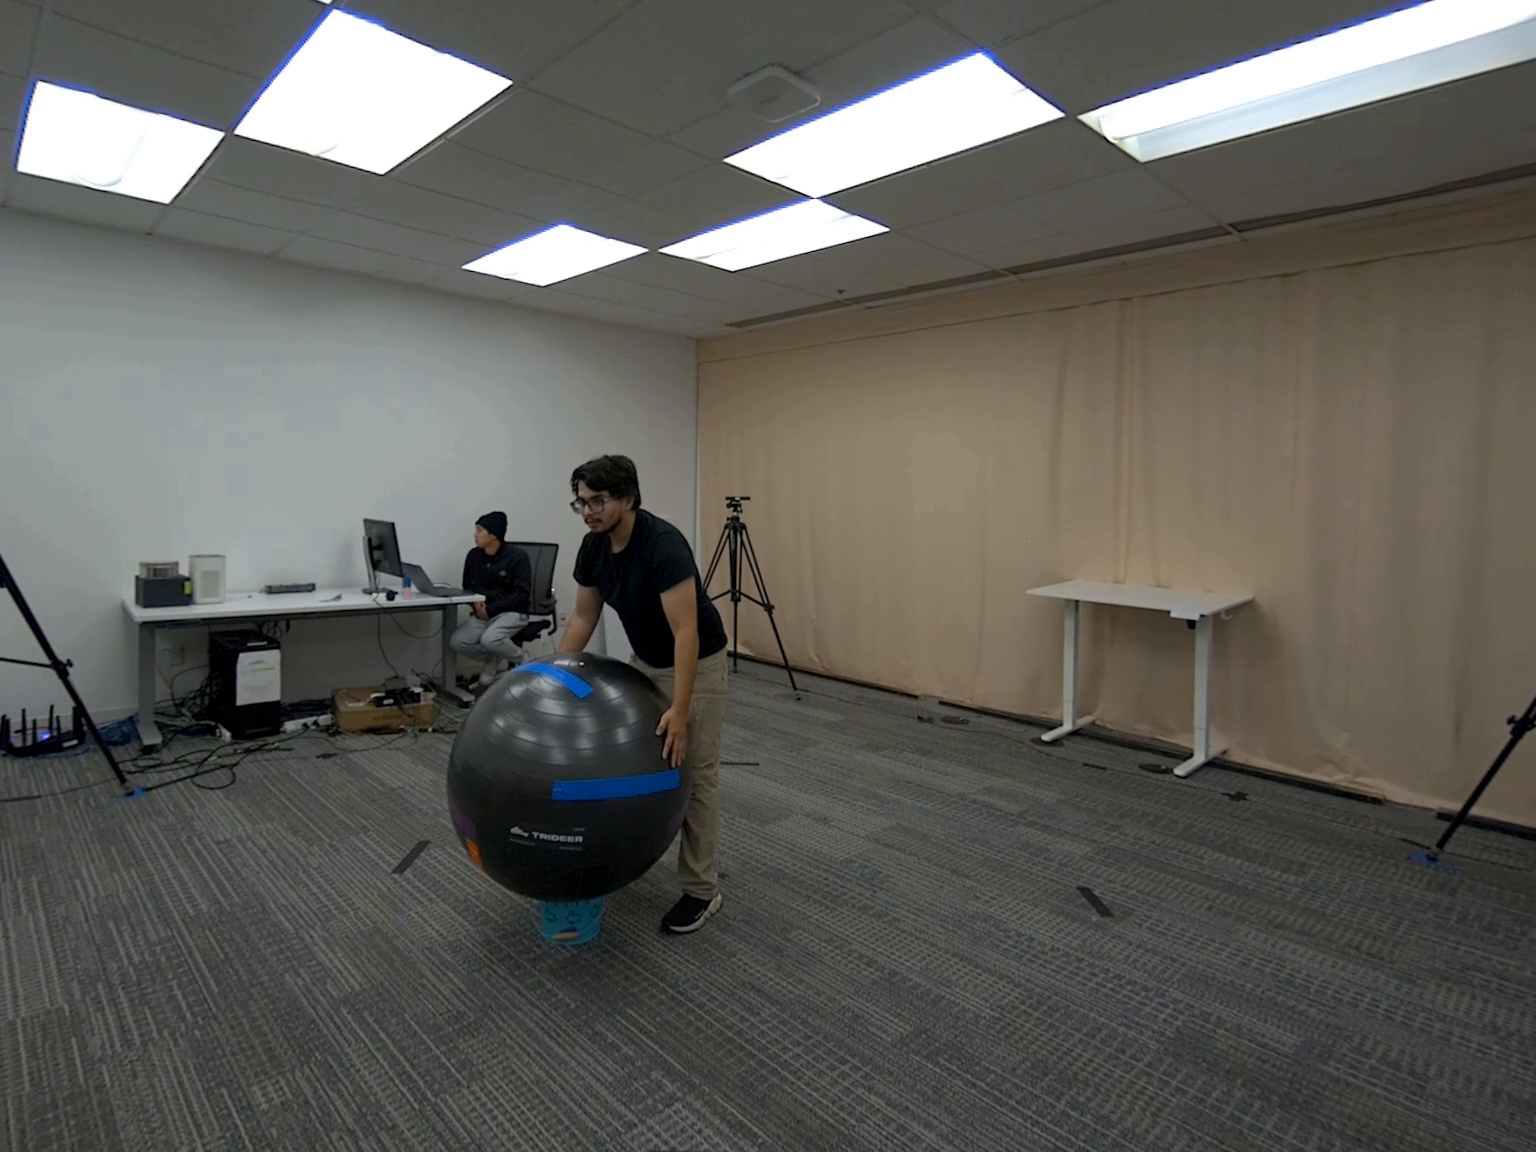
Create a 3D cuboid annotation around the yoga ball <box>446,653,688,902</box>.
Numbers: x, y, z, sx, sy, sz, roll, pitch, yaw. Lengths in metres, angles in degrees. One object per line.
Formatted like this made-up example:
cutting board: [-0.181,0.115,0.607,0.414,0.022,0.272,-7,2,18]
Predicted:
yoga ball: [-0.627,0.637,2.644,0.757,0.756,0.760,1,4,-1]
